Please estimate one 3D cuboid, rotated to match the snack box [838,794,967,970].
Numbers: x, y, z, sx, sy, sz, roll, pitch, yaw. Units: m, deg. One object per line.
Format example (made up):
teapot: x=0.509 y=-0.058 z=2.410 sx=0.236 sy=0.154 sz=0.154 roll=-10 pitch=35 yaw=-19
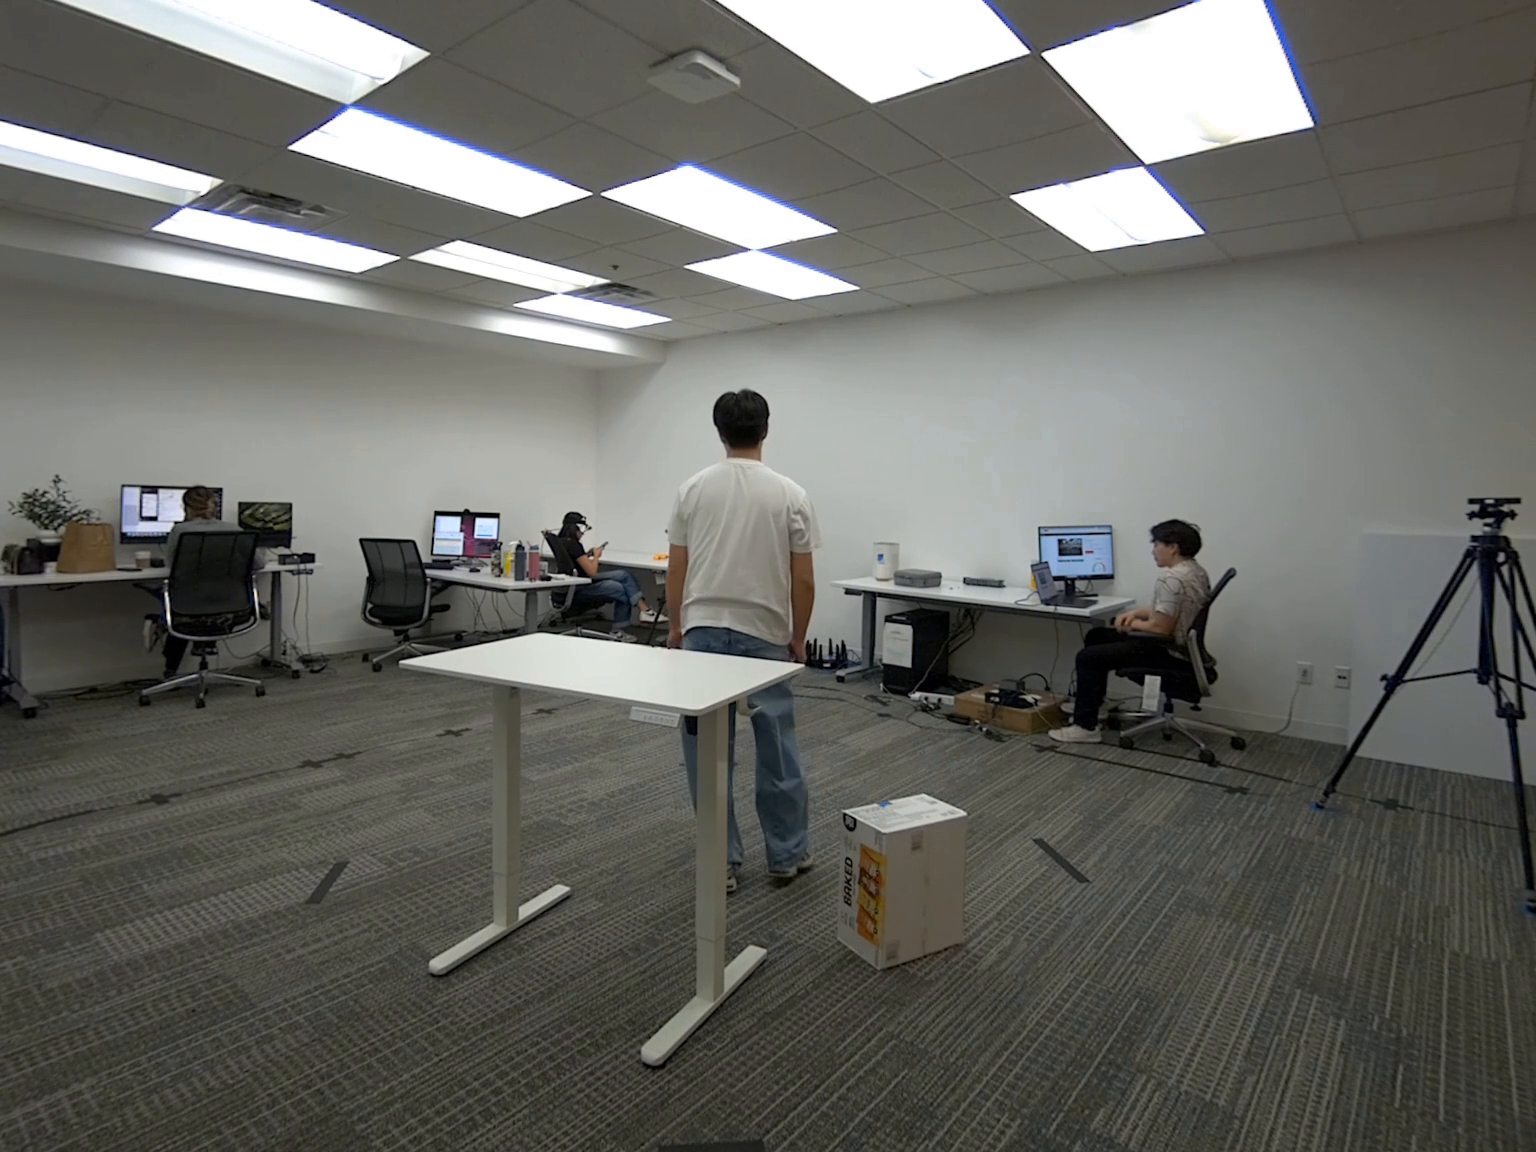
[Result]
snack box: x=0.412 y=0.925 z=2.623 sx=0.331 sy=0.404 sz=0.212 roll=-1 pitch=3 yaw=-32
